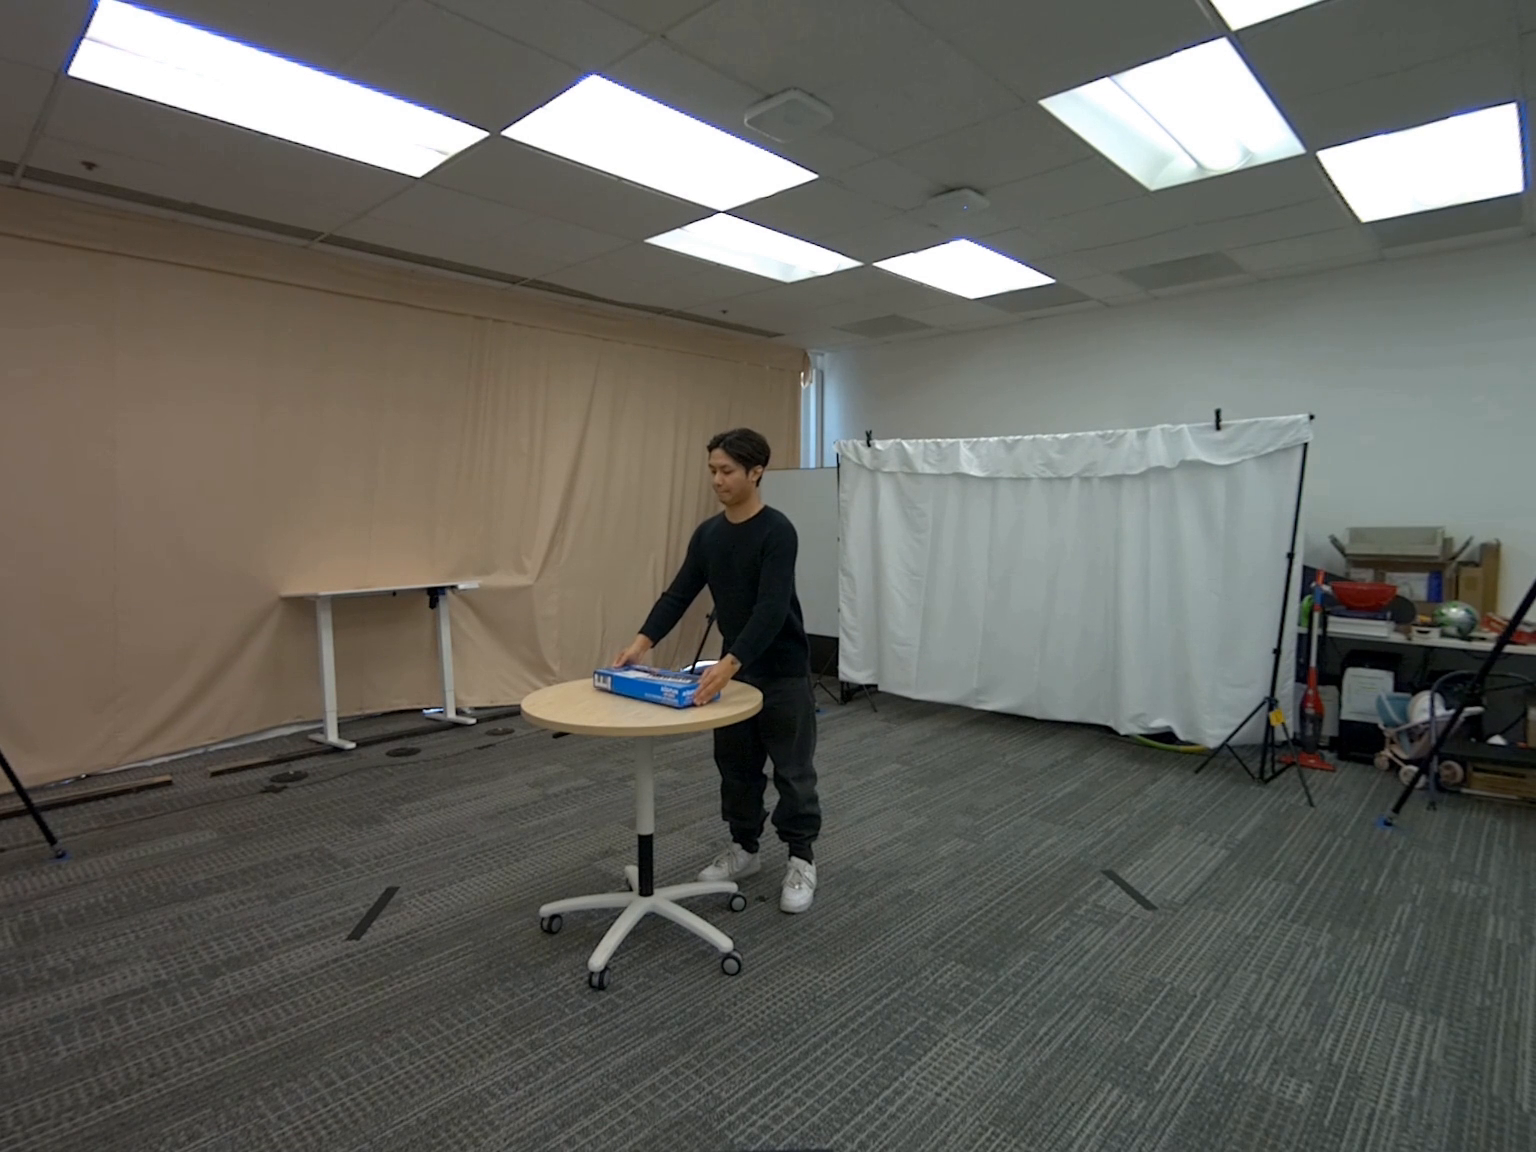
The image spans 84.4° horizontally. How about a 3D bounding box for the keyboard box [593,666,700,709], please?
[{"bbox_3d":[-0.352,0.346,2.710,0.451,0.059,0.170,2,5,41],"label":"keyboard box"}]
